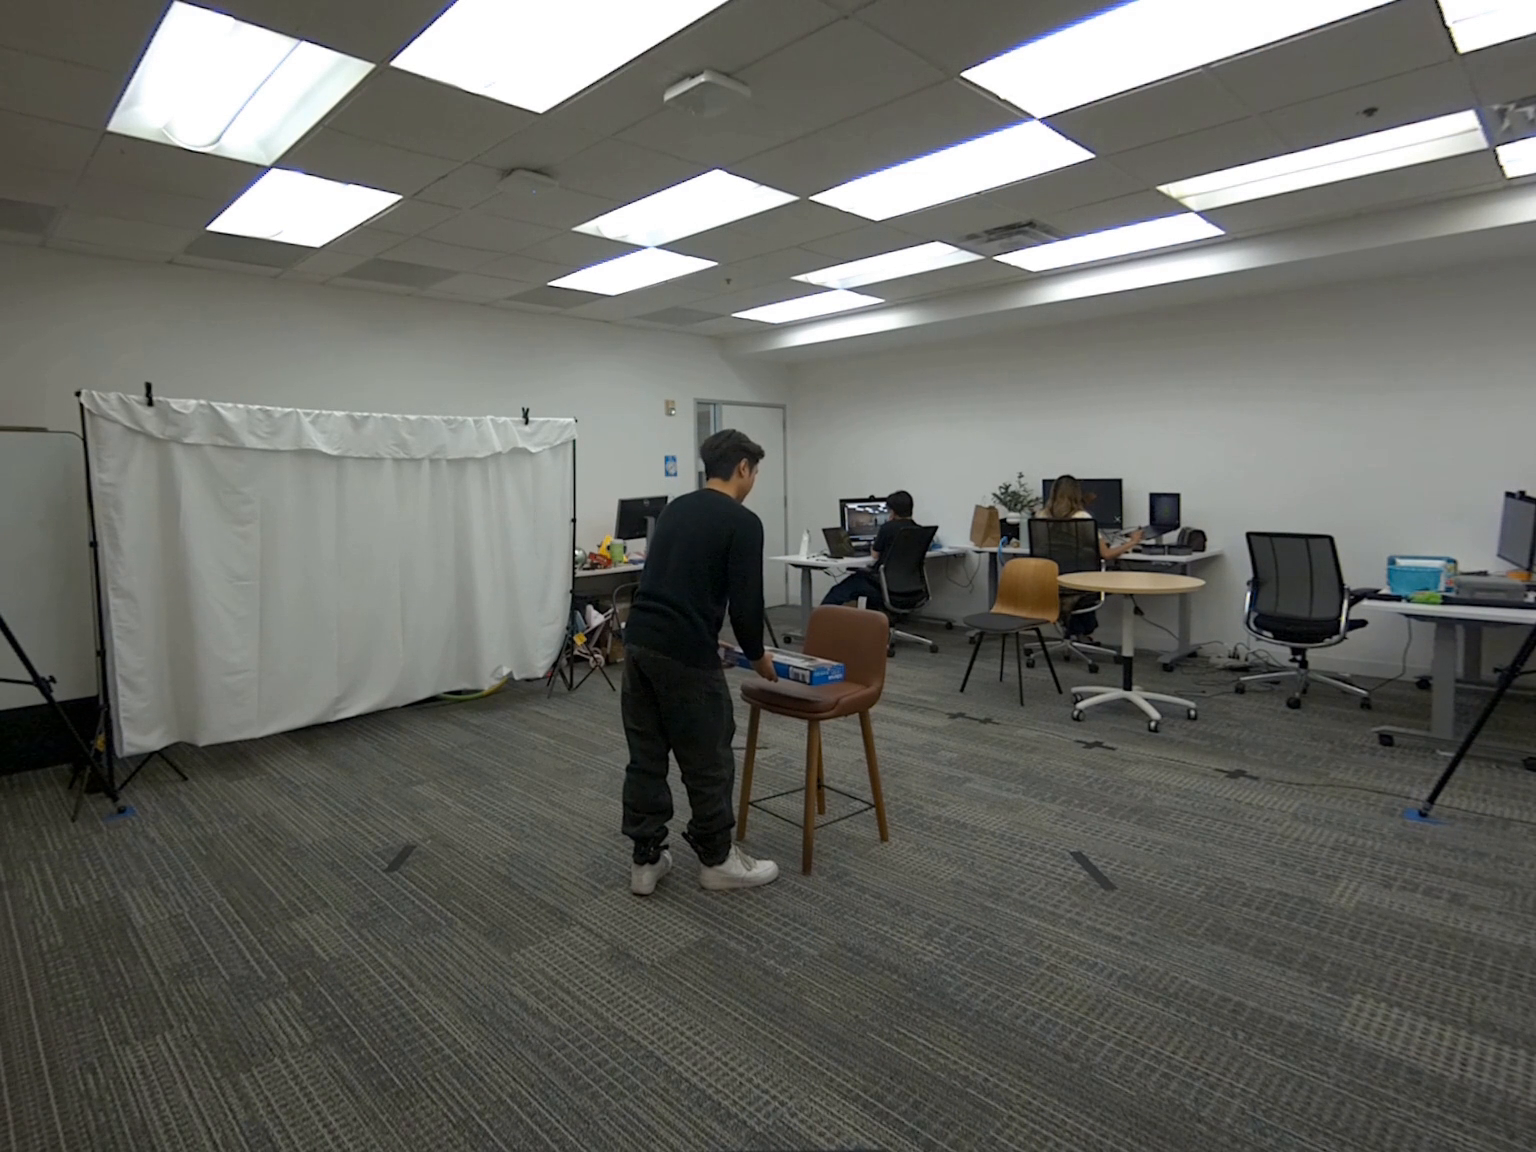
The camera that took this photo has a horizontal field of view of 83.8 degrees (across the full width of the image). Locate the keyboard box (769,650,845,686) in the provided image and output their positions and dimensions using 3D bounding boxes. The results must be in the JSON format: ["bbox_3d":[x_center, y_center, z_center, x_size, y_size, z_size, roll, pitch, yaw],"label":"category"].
[{"bbox_3d":[0.049,0.316,3.103,0.171,0.059,0.451,-3,8,-44],"label":"keyboard box"}]
